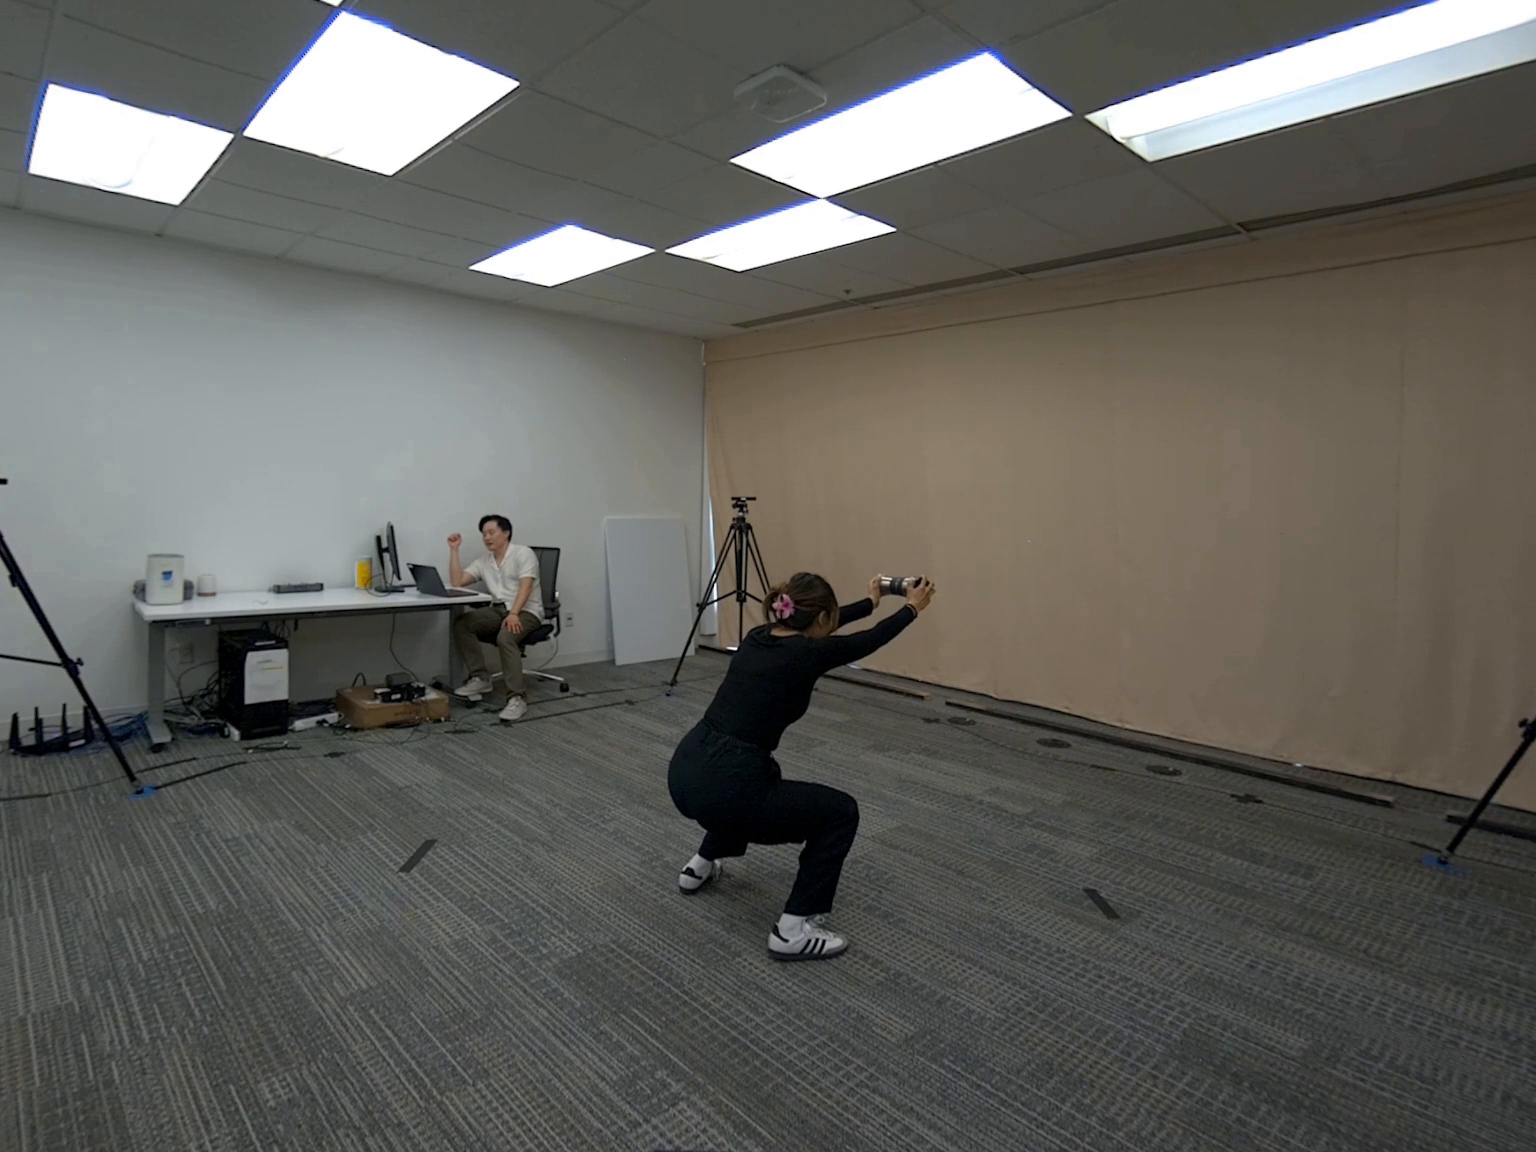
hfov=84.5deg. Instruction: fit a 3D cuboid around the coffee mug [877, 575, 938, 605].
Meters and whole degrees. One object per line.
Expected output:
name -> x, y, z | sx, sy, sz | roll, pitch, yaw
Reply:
coffee mug -> 0.528, 0.049, 3.244 | 0.119, 0.088, 0.207 | 7, -1, -33
